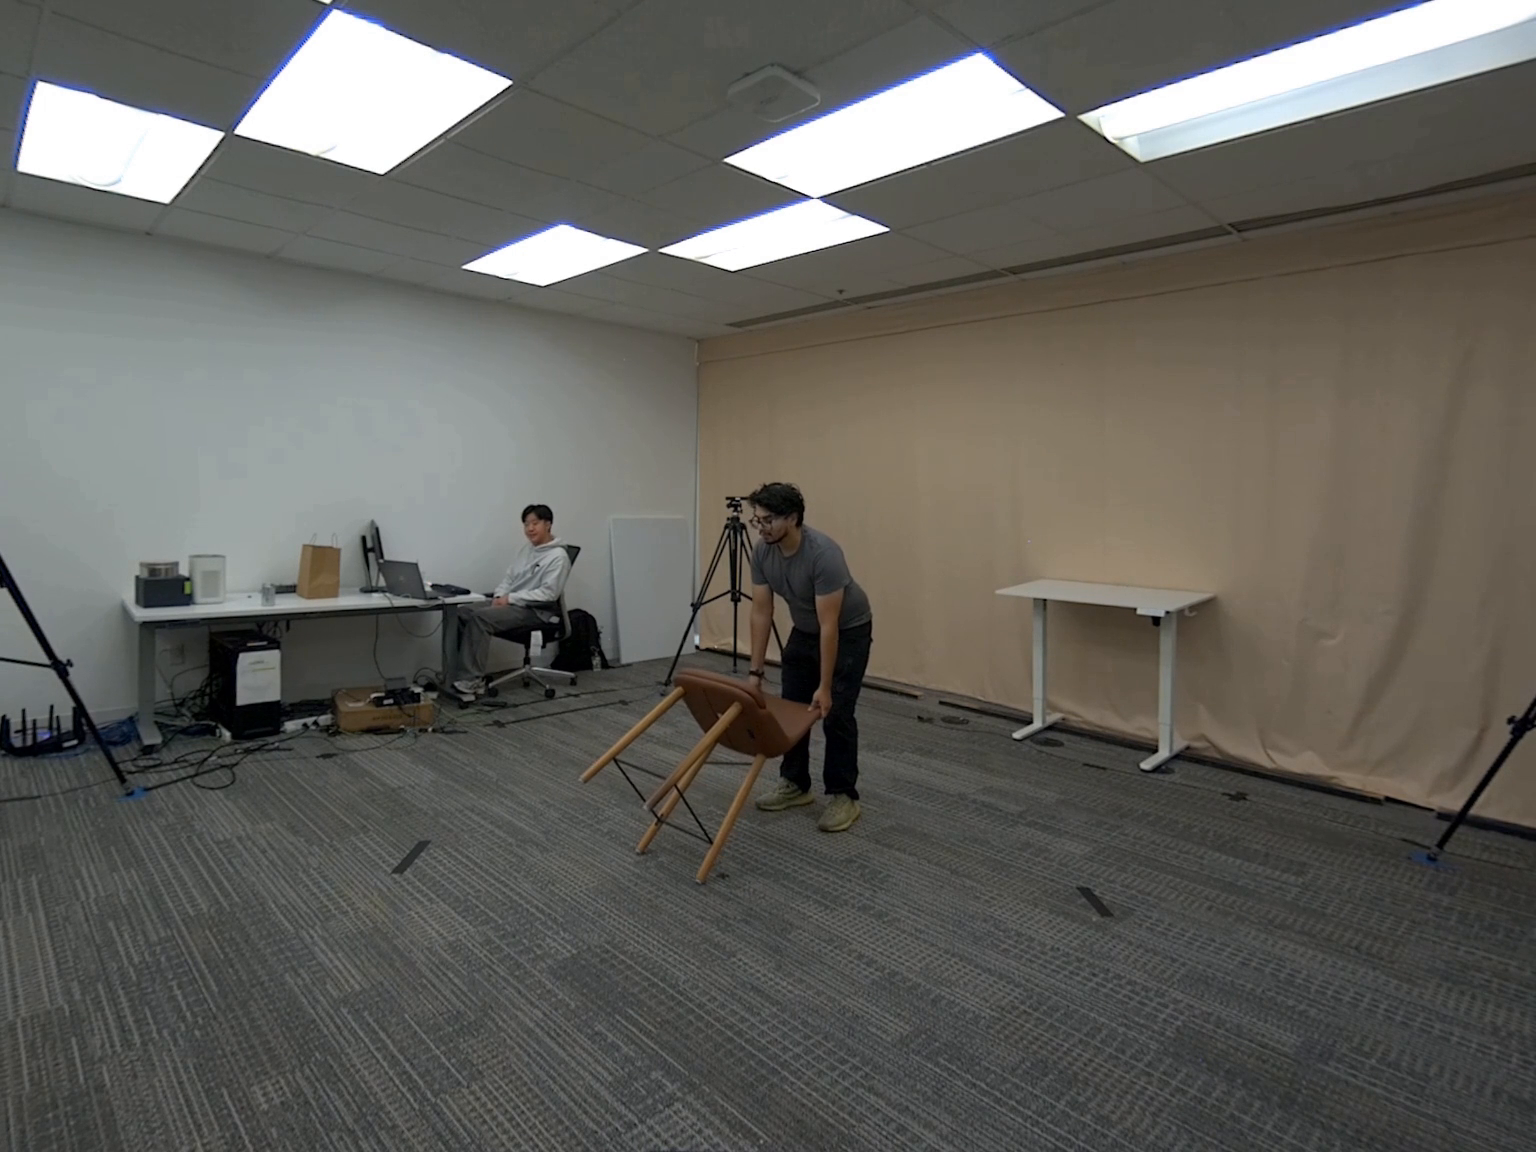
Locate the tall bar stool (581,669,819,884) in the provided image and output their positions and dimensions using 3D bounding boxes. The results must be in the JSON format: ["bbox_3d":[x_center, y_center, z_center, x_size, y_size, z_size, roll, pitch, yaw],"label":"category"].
[{"bbox_3d":[-0.224,0.653,3.287,0.468,0.456,0.889,4,41,44],"label":"tall bar stool"}]
